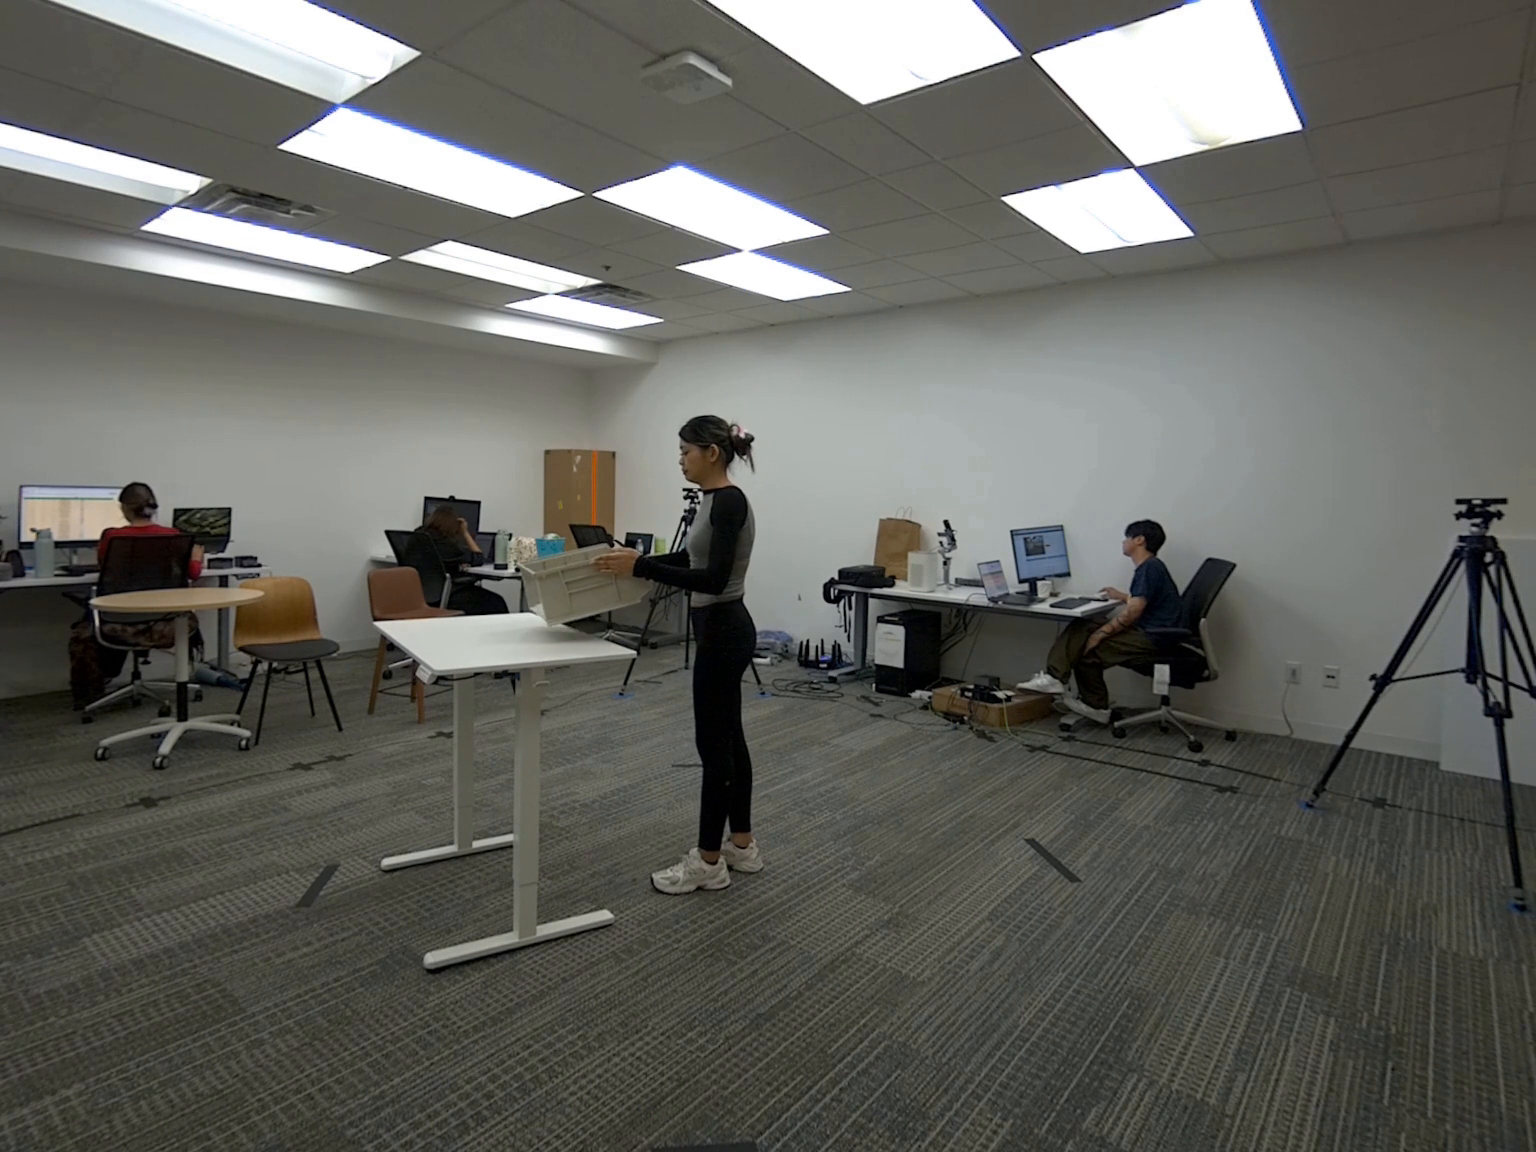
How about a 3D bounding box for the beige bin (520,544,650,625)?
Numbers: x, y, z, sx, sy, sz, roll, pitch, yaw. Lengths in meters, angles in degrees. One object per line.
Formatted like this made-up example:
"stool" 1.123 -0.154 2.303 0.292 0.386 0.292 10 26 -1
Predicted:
"beige bin" -0.650 0.018 2.954 0.372 0.187 0.433 -16 11 -21
